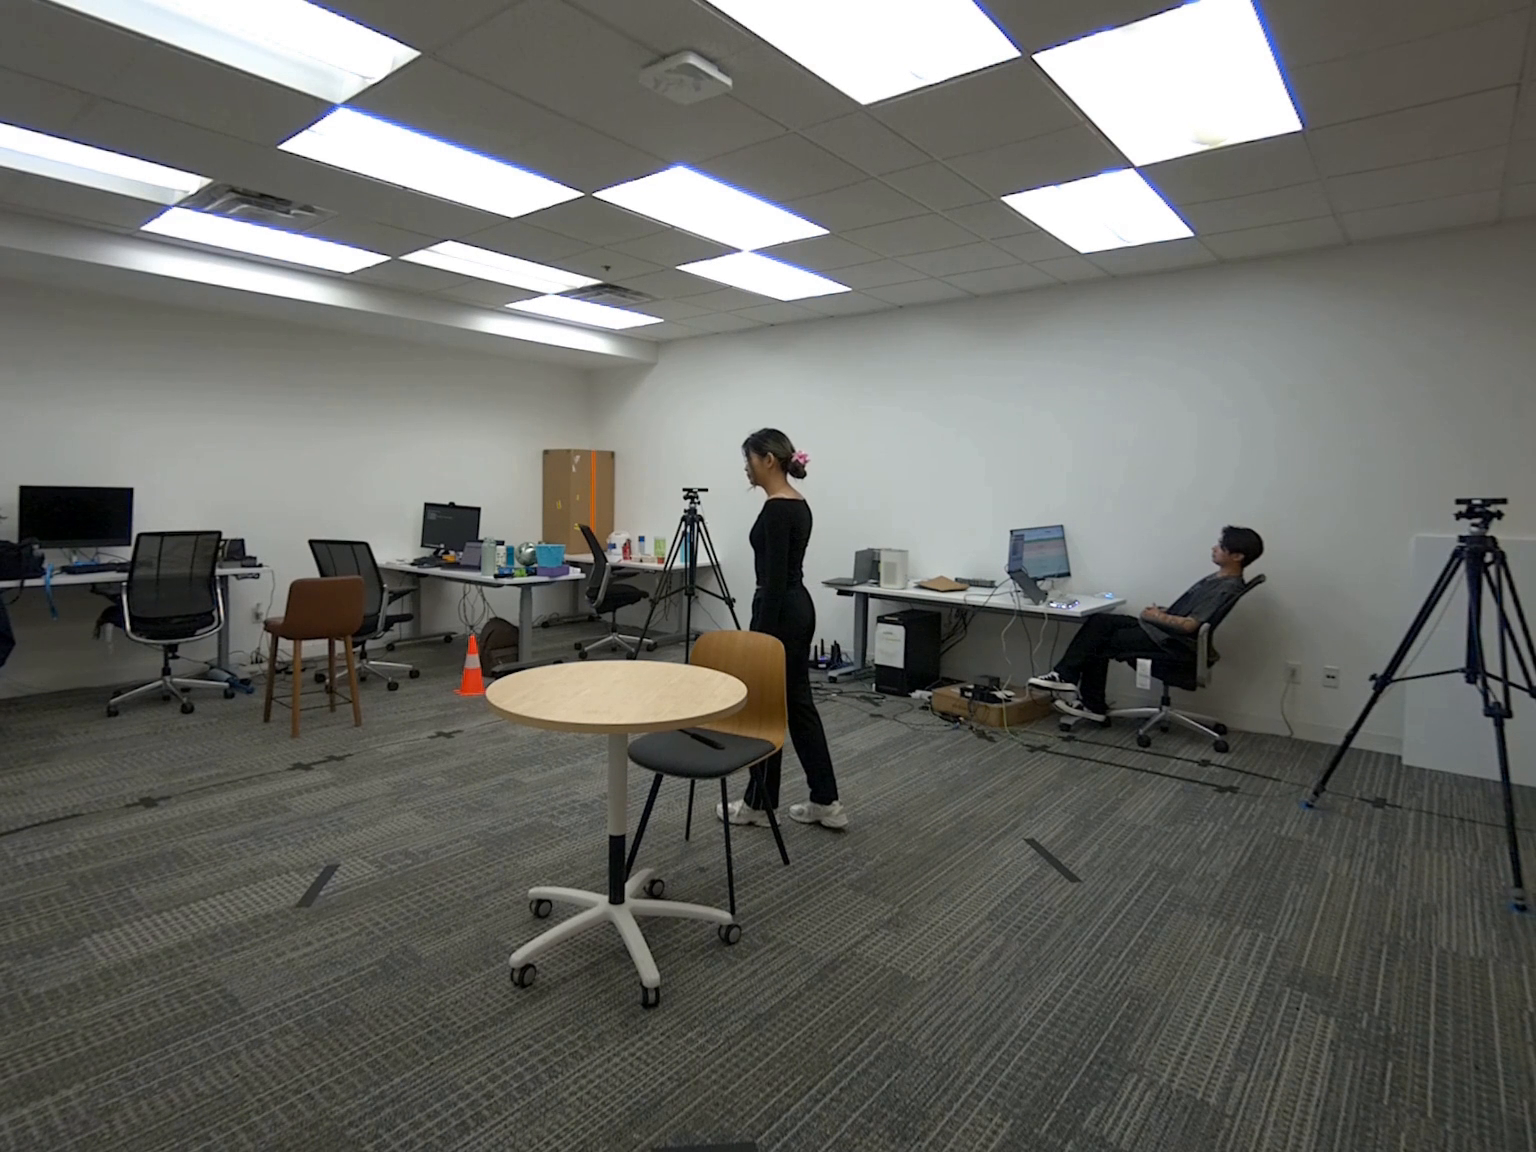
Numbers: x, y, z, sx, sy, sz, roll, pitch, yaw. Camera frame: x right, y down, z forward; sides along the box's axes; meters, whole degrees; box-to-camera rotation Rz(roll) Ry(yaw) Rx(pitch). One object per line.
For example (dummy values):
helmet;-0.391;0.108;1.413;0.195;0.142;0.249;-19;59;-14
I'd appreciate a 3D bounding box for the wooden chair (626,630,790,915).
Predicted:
wooden chair;-0.224;0.648;3.043;0.491;0.878;0.508;3;-1;28
